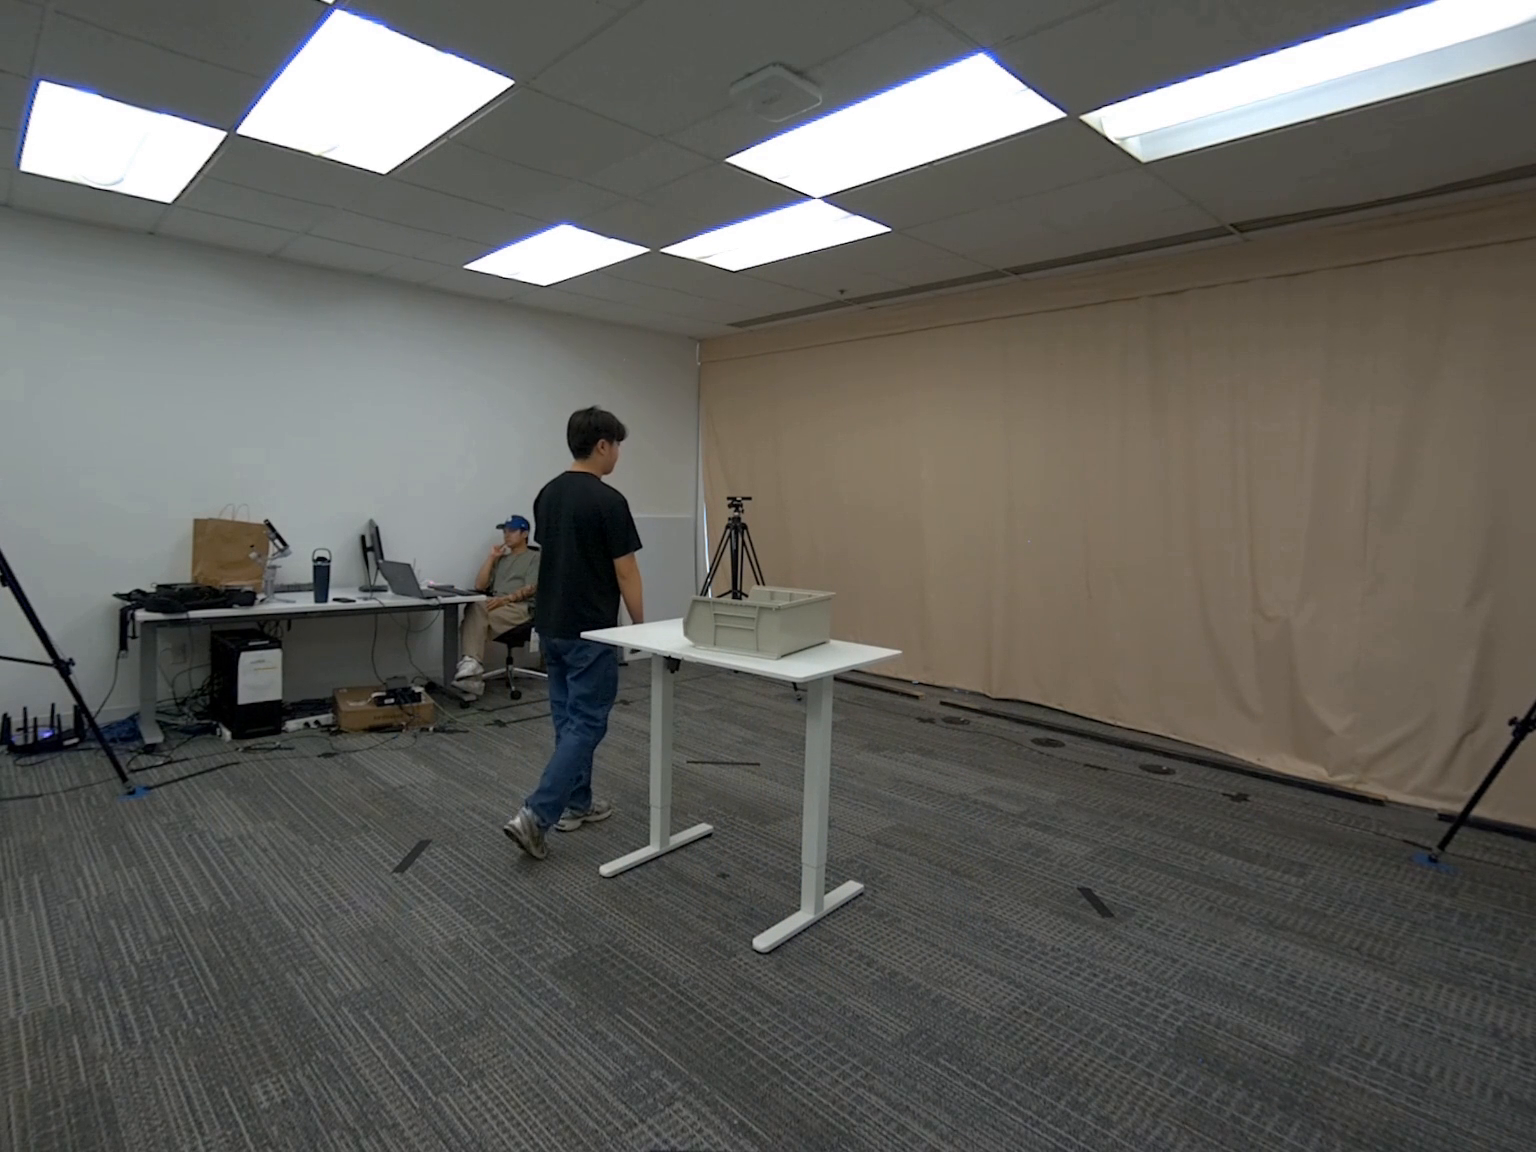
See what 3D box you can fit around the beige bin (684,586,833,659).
[{"bbox_3d":[-0.027,0.157,2.932,0.386,0.188,0.414,6,6,30],"label":"beige bin"}]
